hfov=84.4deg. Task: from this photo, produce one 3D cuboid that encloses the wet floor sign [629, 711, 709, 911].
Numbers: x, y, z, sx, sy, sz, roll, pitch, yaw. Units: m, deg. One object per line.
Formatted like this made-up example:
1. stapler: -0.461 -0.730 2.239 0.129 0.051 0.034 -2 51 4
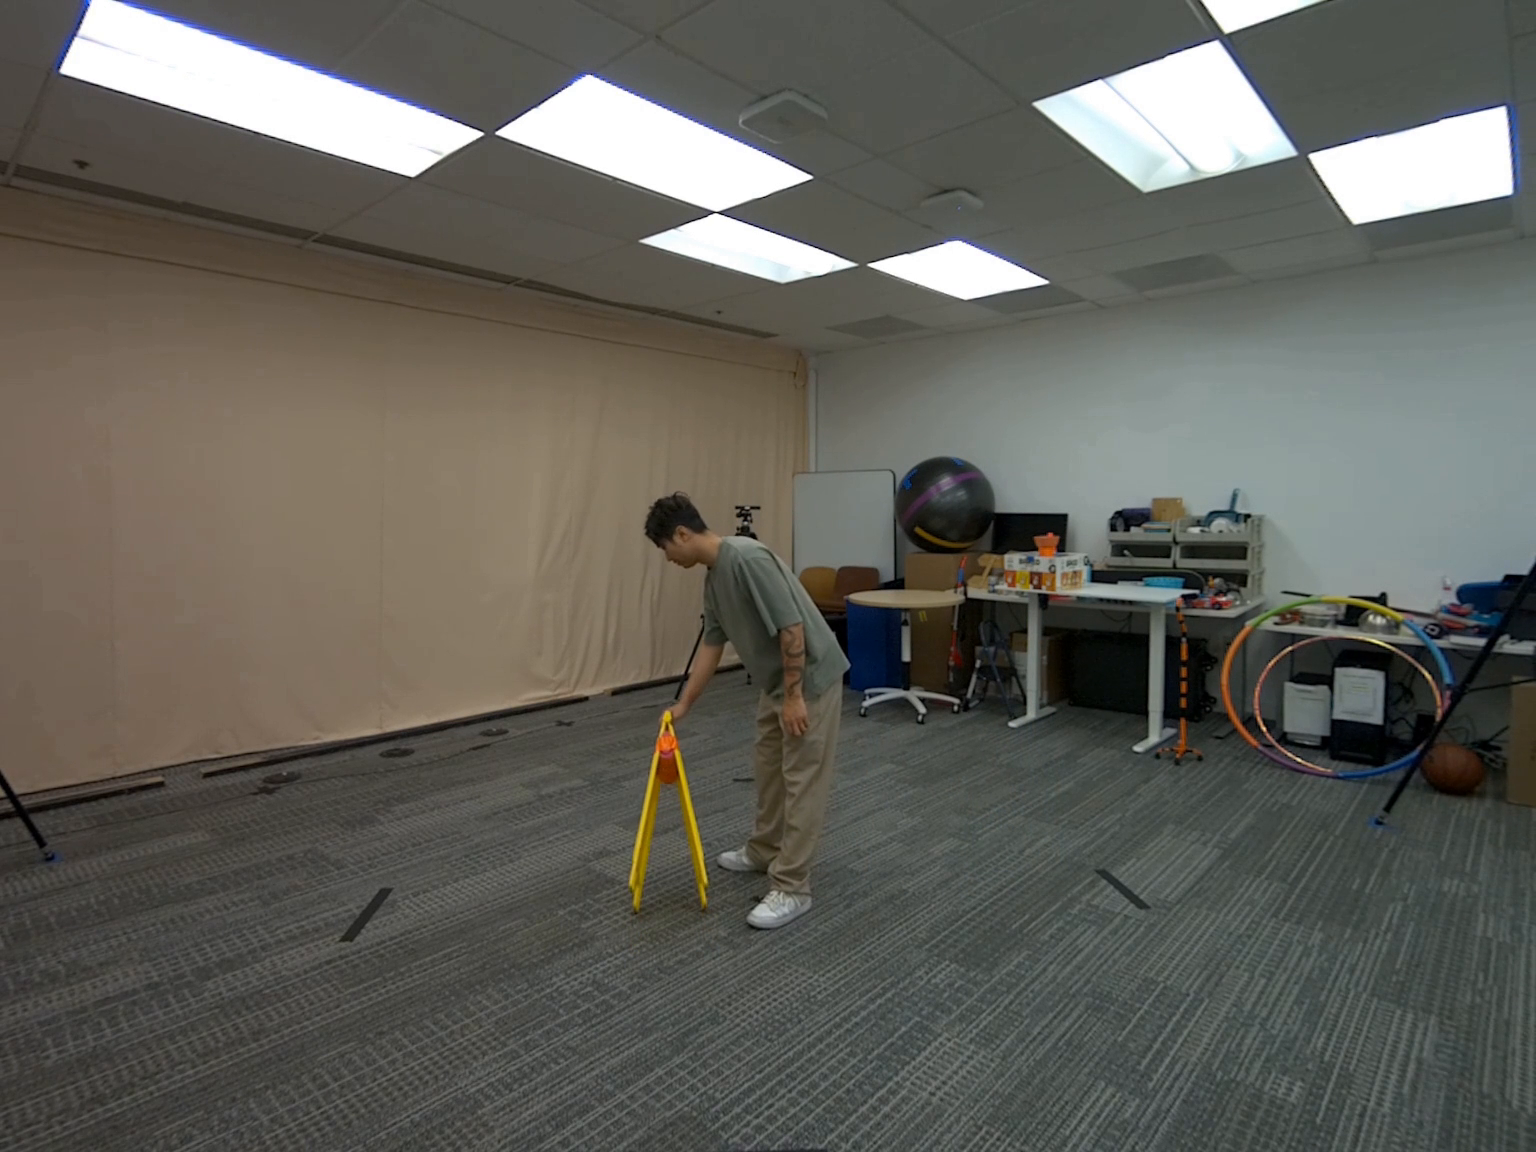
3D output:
1. wet floor sign: -0.351 0.822 2.991 0.289 0.659 0.278 -2 -36 -4
